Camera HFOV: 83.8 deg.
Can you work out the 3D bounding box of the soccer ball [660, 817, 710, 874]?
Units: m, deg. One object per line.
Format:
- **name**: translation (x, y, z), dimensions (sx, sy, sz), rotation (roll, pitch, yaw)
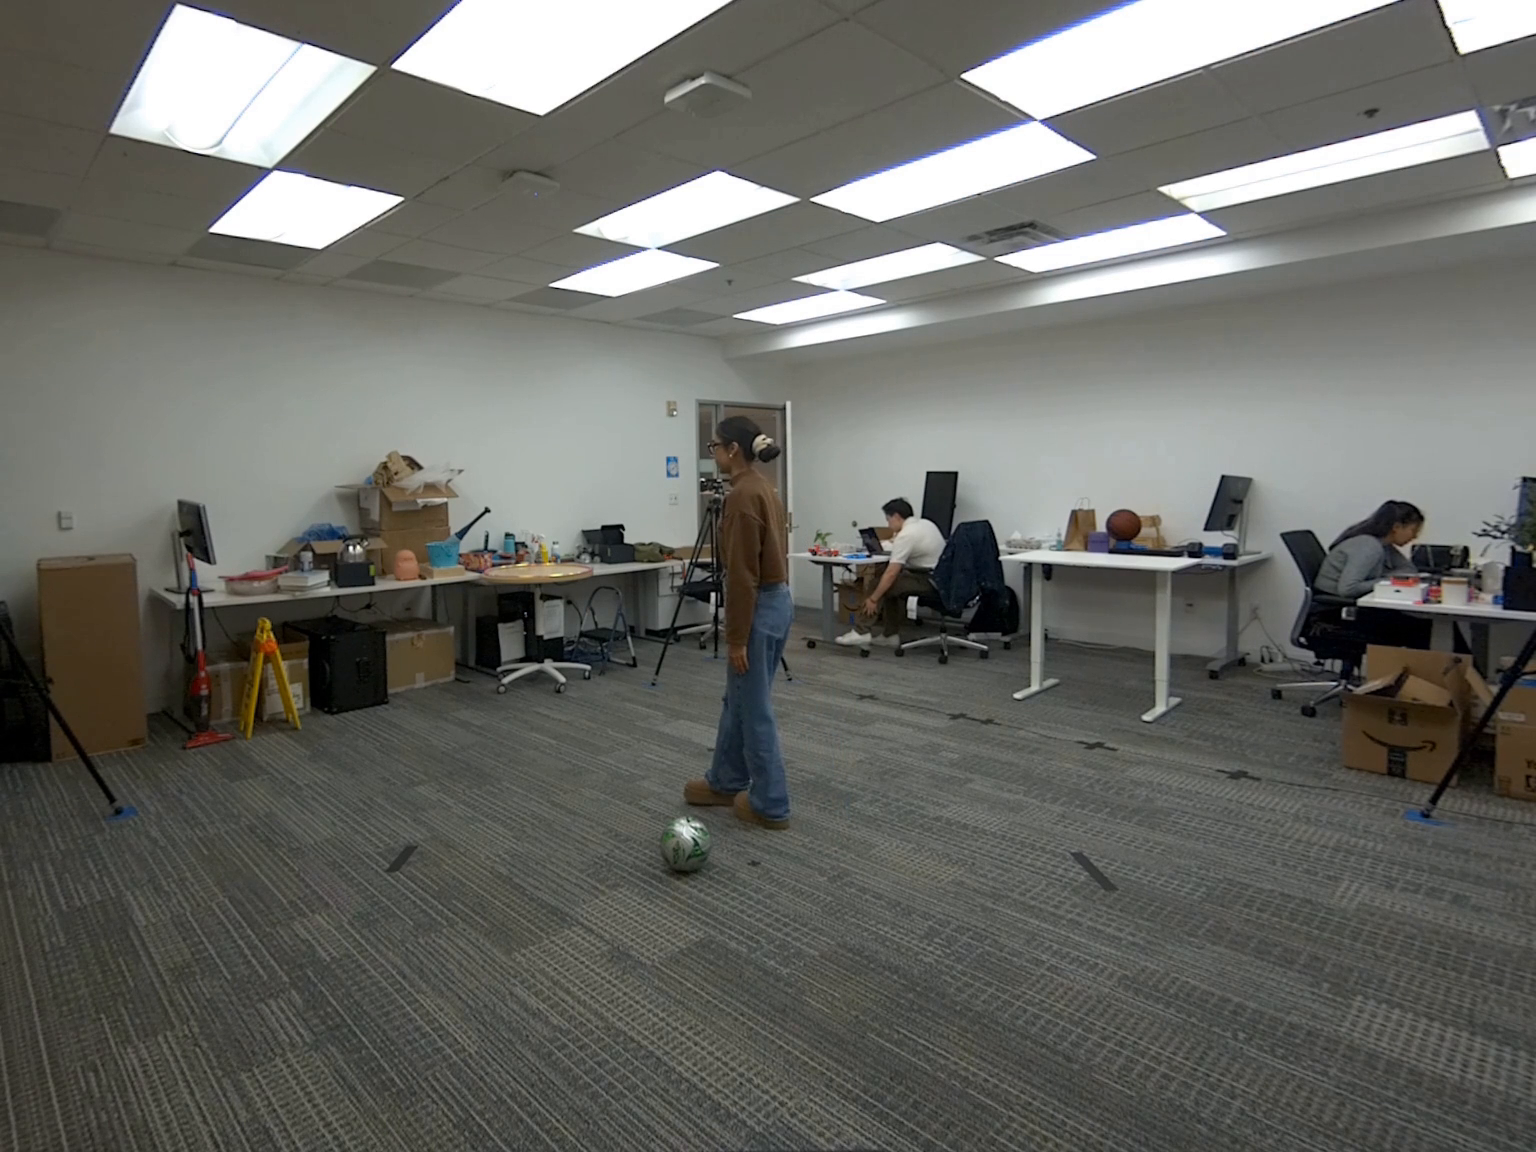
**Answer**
- **soccer ball**: translation (-0.289, 0.958, 3.059), dimensions (0.187, 0.187, 0.188), rotation (-1, 5, -2)
